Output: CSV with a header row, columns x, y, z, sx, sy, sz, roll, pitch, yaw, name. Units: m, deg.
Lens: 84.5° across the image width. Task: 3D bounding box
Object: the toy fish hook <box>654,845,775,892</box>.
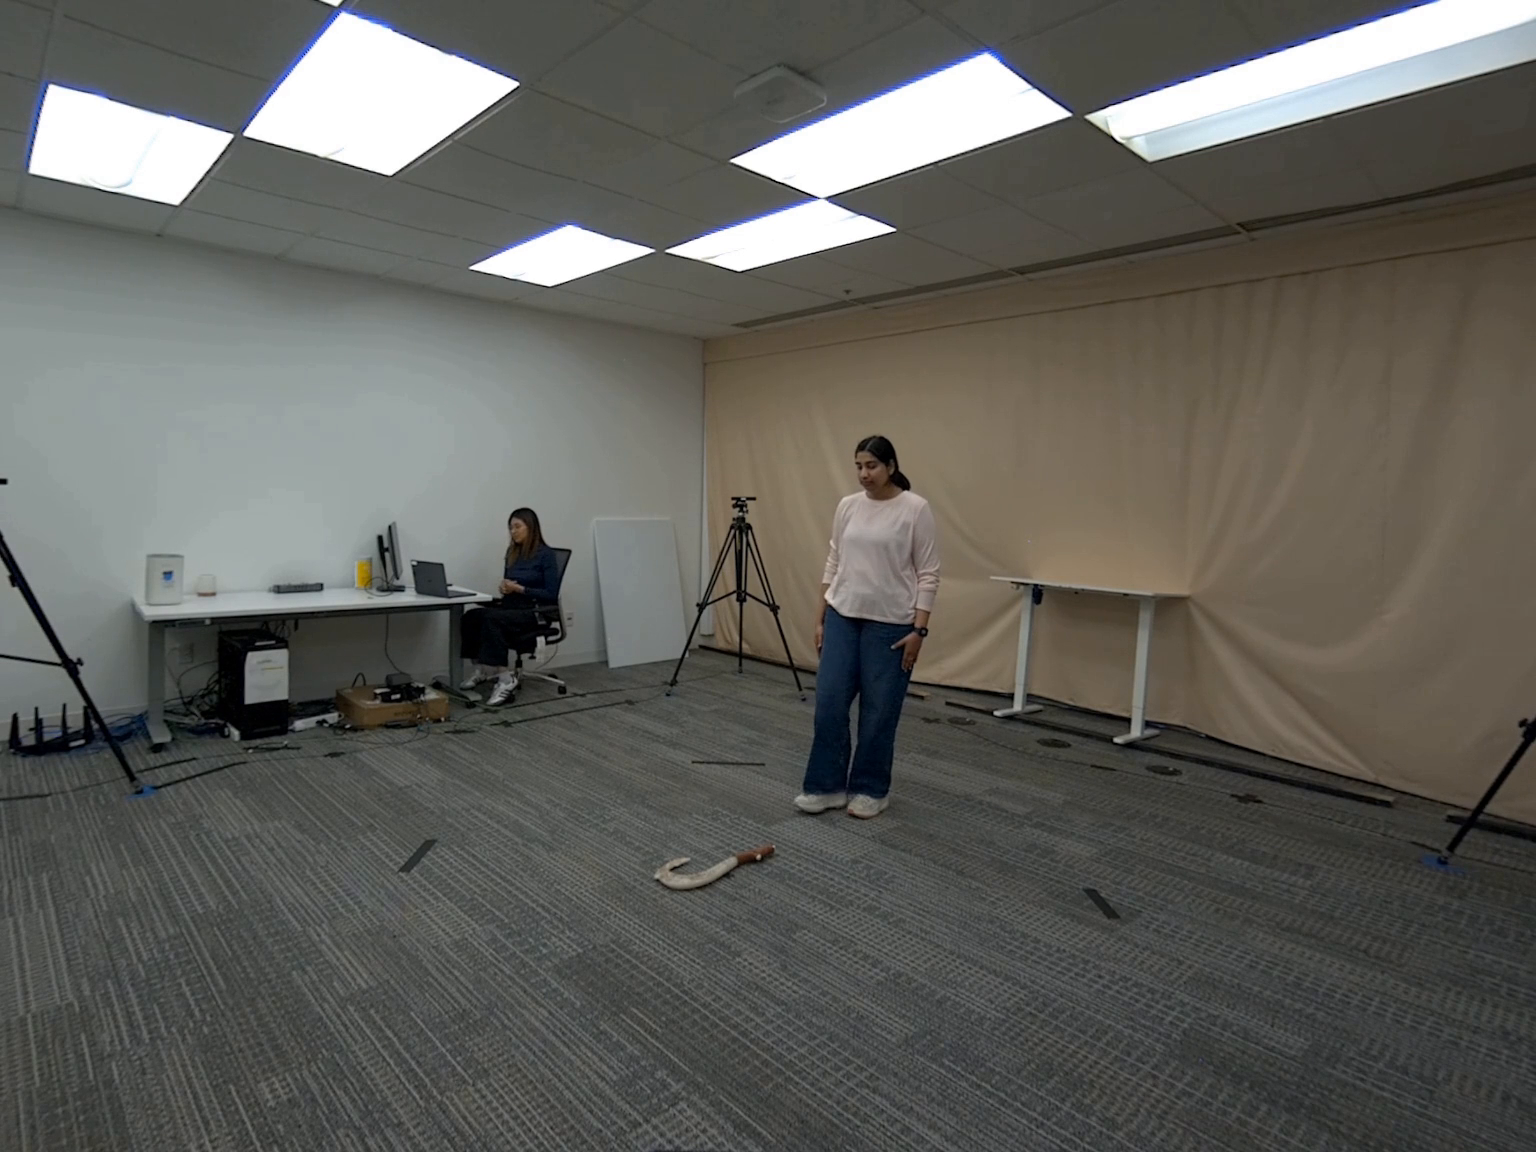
x,y,z,sx,sy,sz,roll,pitch,yaw,name
-0.204,1.077,3.174,0.495,0.048,0.230,-3,8,-41,toy fish hook
